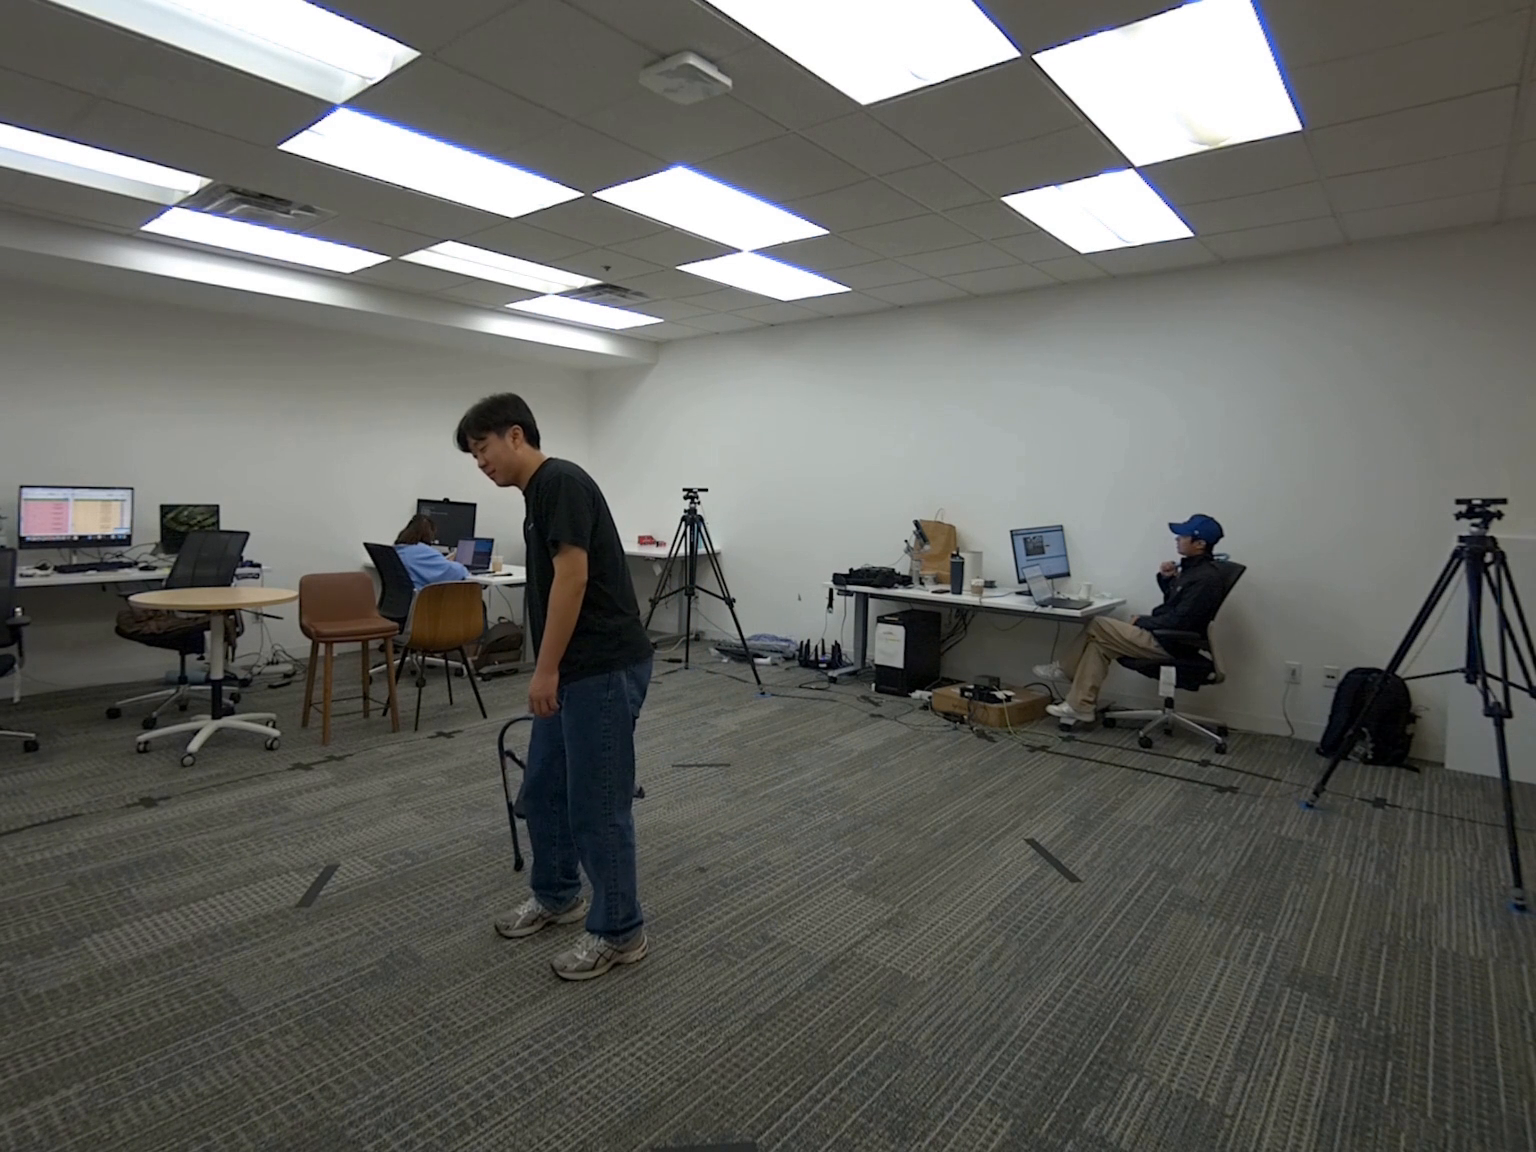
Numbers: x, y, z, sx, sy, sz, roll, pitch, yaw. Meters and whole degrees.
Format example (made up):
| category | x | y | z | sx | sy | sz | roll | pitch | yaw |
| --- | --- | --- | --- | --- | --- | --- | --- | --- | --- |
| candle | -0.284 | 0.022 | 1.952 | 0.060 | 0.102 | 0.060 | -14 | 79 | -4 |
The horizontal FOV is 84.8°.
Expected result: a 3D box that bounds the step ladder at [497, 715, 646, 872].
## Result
| category | x | y | z | sx | sy | sz | roll | pitch | yaw |
| --- | --- | --- | --- | --- | --- | --- | --- | --- | --- |
| step ladder | -0.719 | 0.725 | 2.948 | 0.435 | 0.587 | 0.357 | 2 | 44 | 9 |
